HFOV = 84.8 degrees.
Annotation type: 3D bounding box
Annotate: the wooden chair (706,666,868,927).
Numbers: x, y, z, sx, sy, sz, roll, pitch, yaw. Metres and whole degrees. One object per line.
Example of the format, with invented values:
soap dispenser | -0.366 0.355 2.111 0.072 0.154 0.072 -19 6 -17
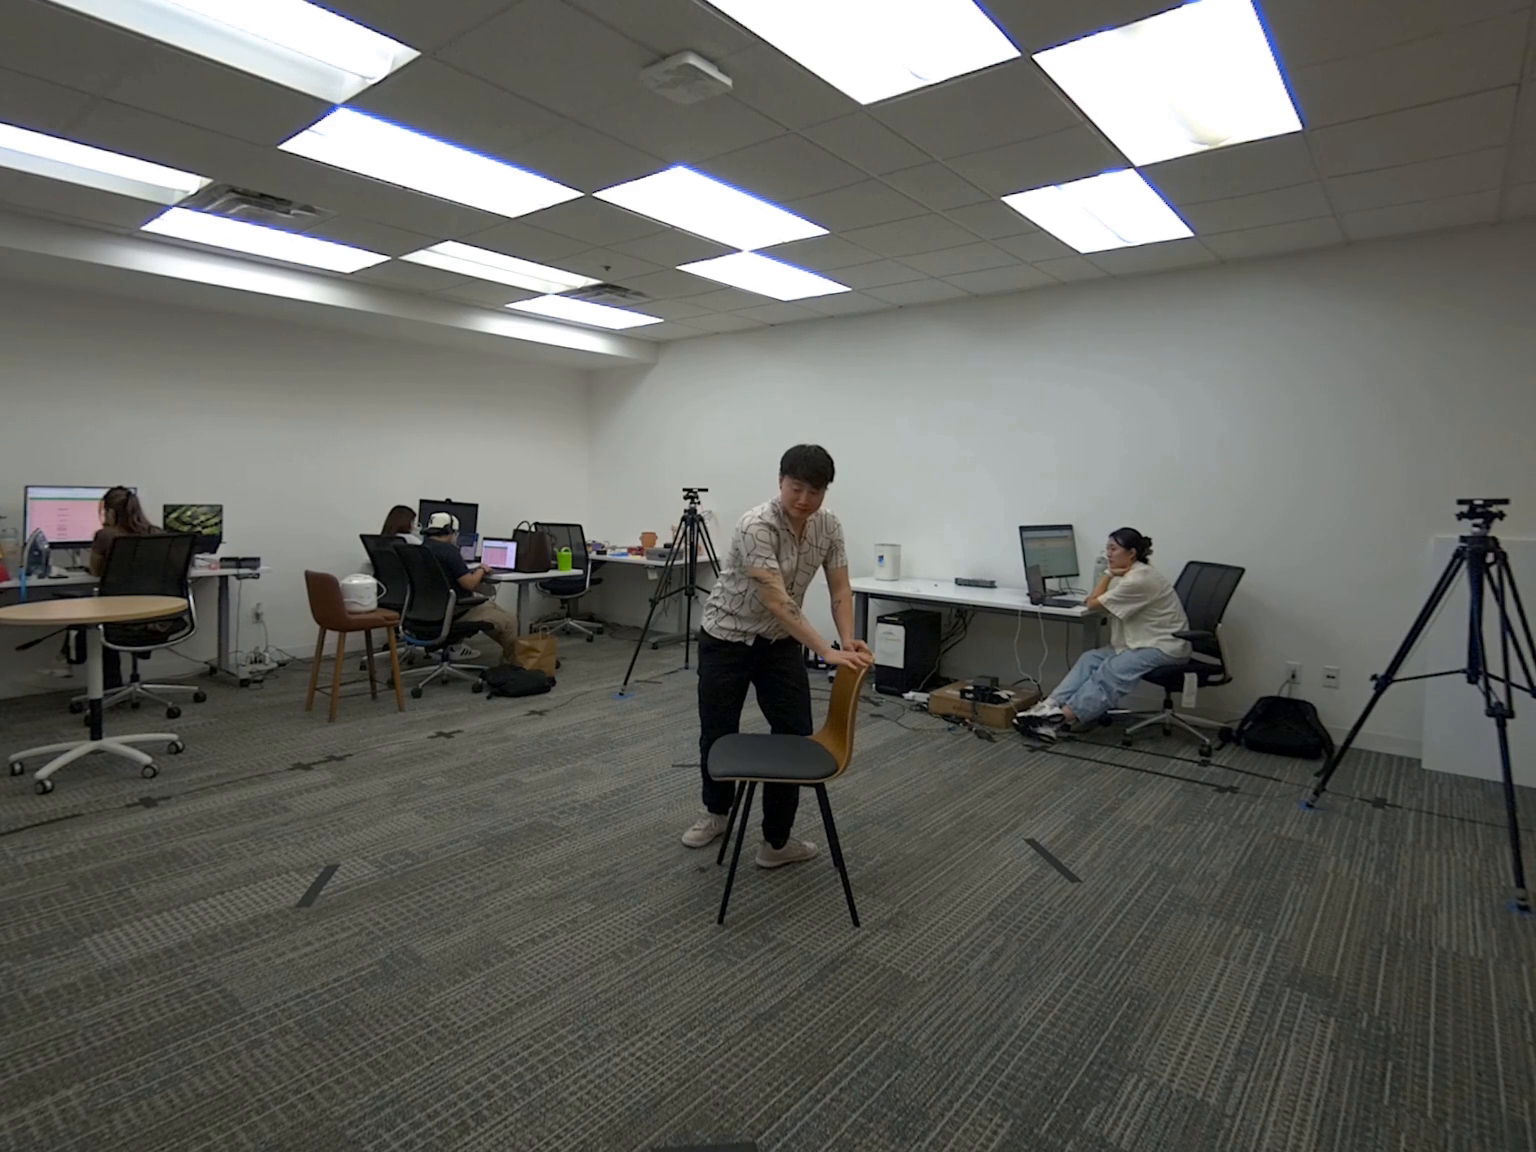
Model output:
wooden chair | 0.051 0.665 2.909 0.521 0.875 0.482 5 4 -4
